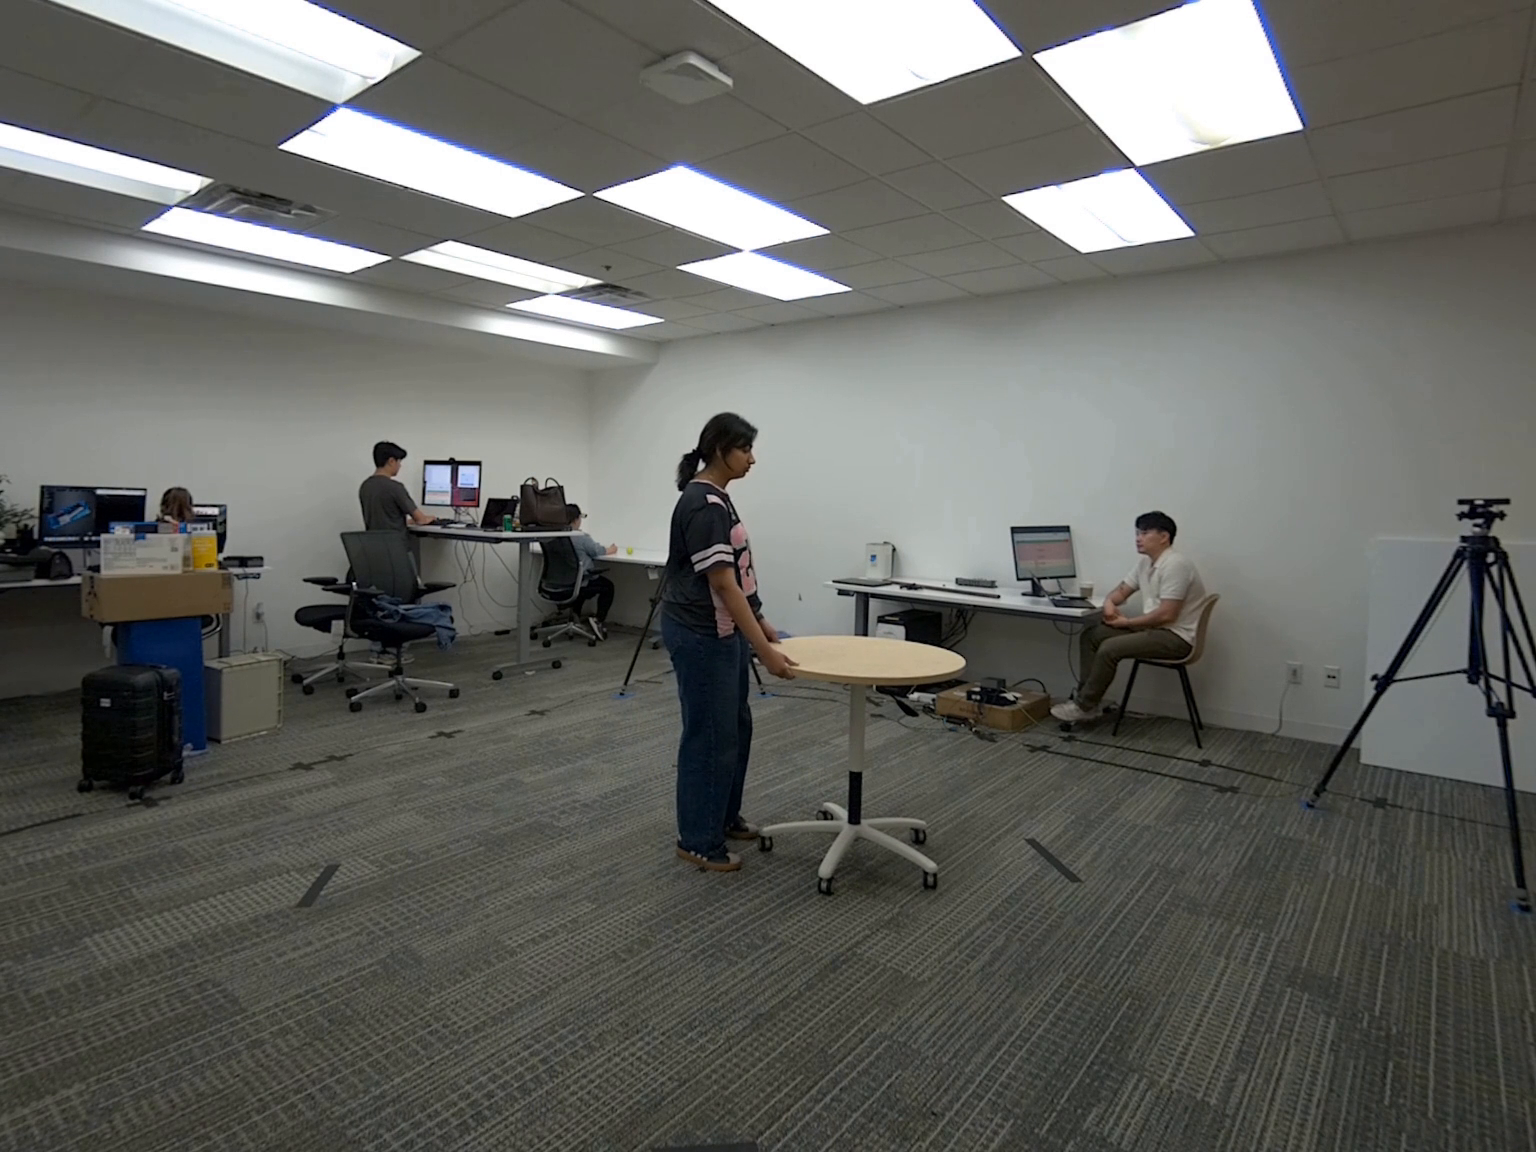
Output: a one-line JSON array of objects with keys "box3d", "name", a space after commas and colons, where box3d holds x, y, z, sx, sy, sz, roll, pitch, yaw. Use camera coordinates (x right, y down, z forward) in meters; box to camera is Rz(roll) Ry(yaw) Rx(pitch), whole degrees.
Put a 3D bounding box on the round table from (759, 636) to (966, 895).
[{"box3d": [0.317, 0.682, 3.209, 0.784, 0.784, 0.789, 2, 5, -2], "name": "round table"}]
